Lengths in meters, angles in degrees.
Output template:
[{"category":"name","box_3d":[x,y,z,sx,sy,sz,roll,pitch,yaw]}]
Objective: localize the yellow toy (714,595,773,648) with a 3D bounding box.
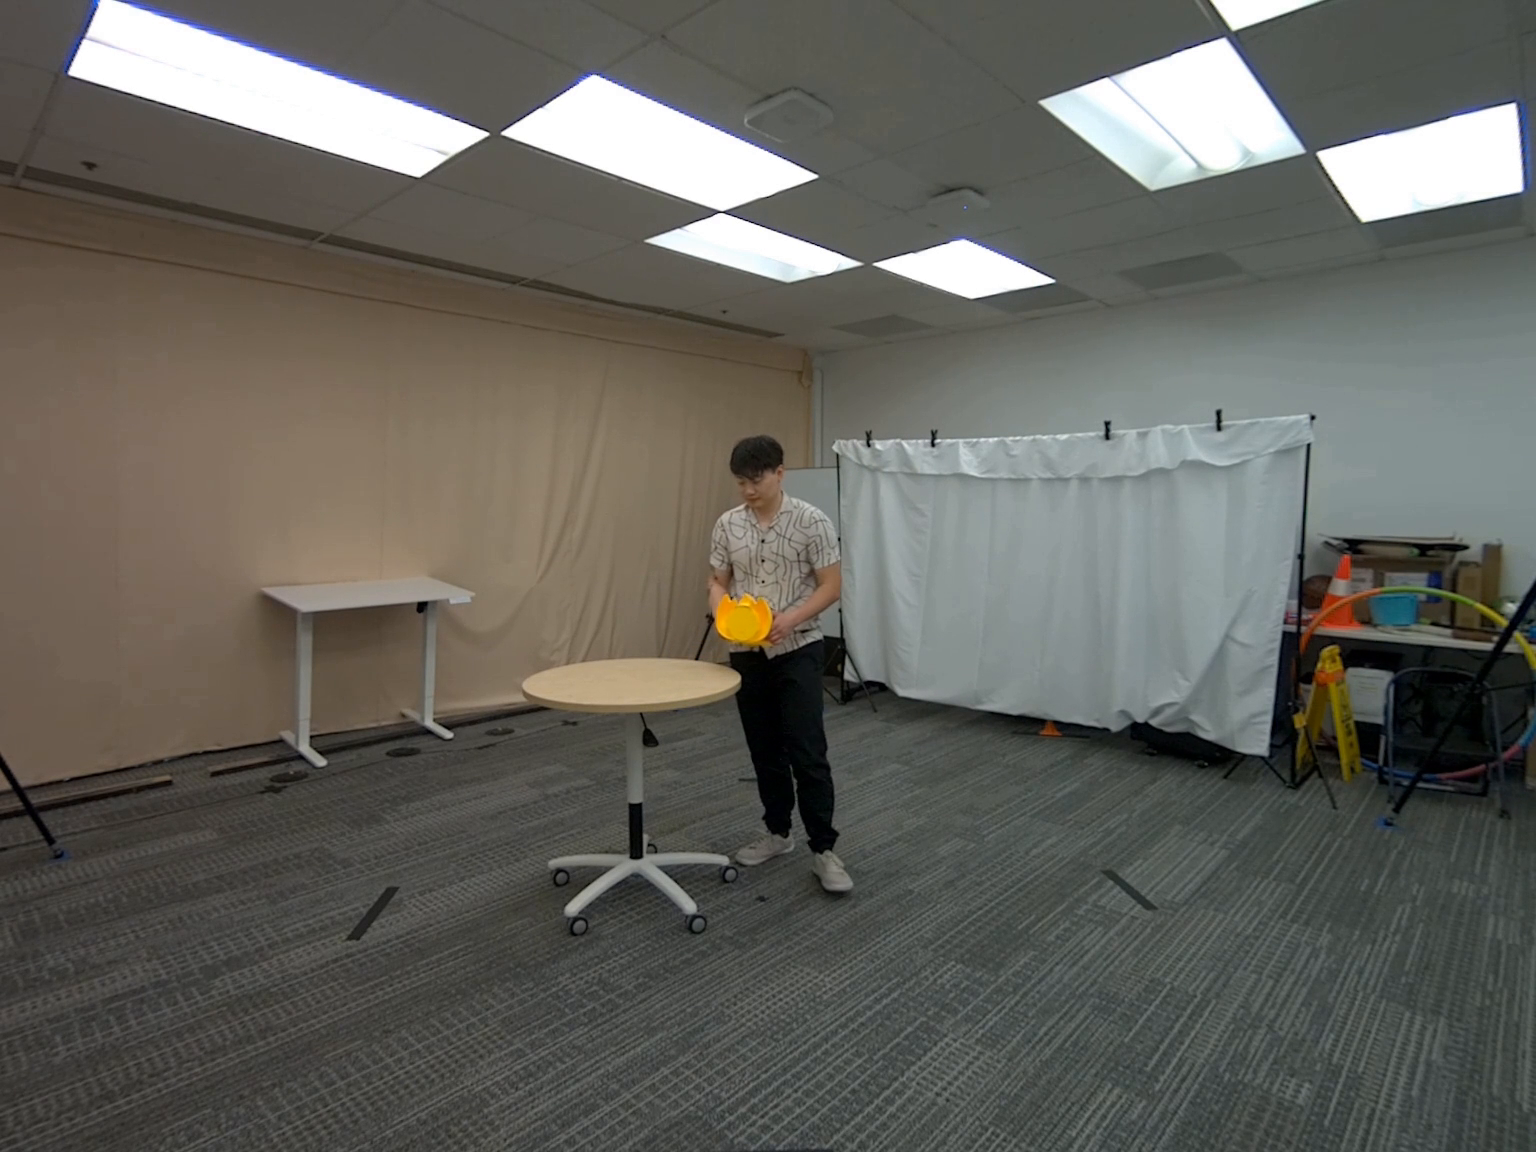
[{"category":"yellow toy","box_3d":[-0.048,0.151,3.075,0.209,0.192,0.226,4,5,20]}]
